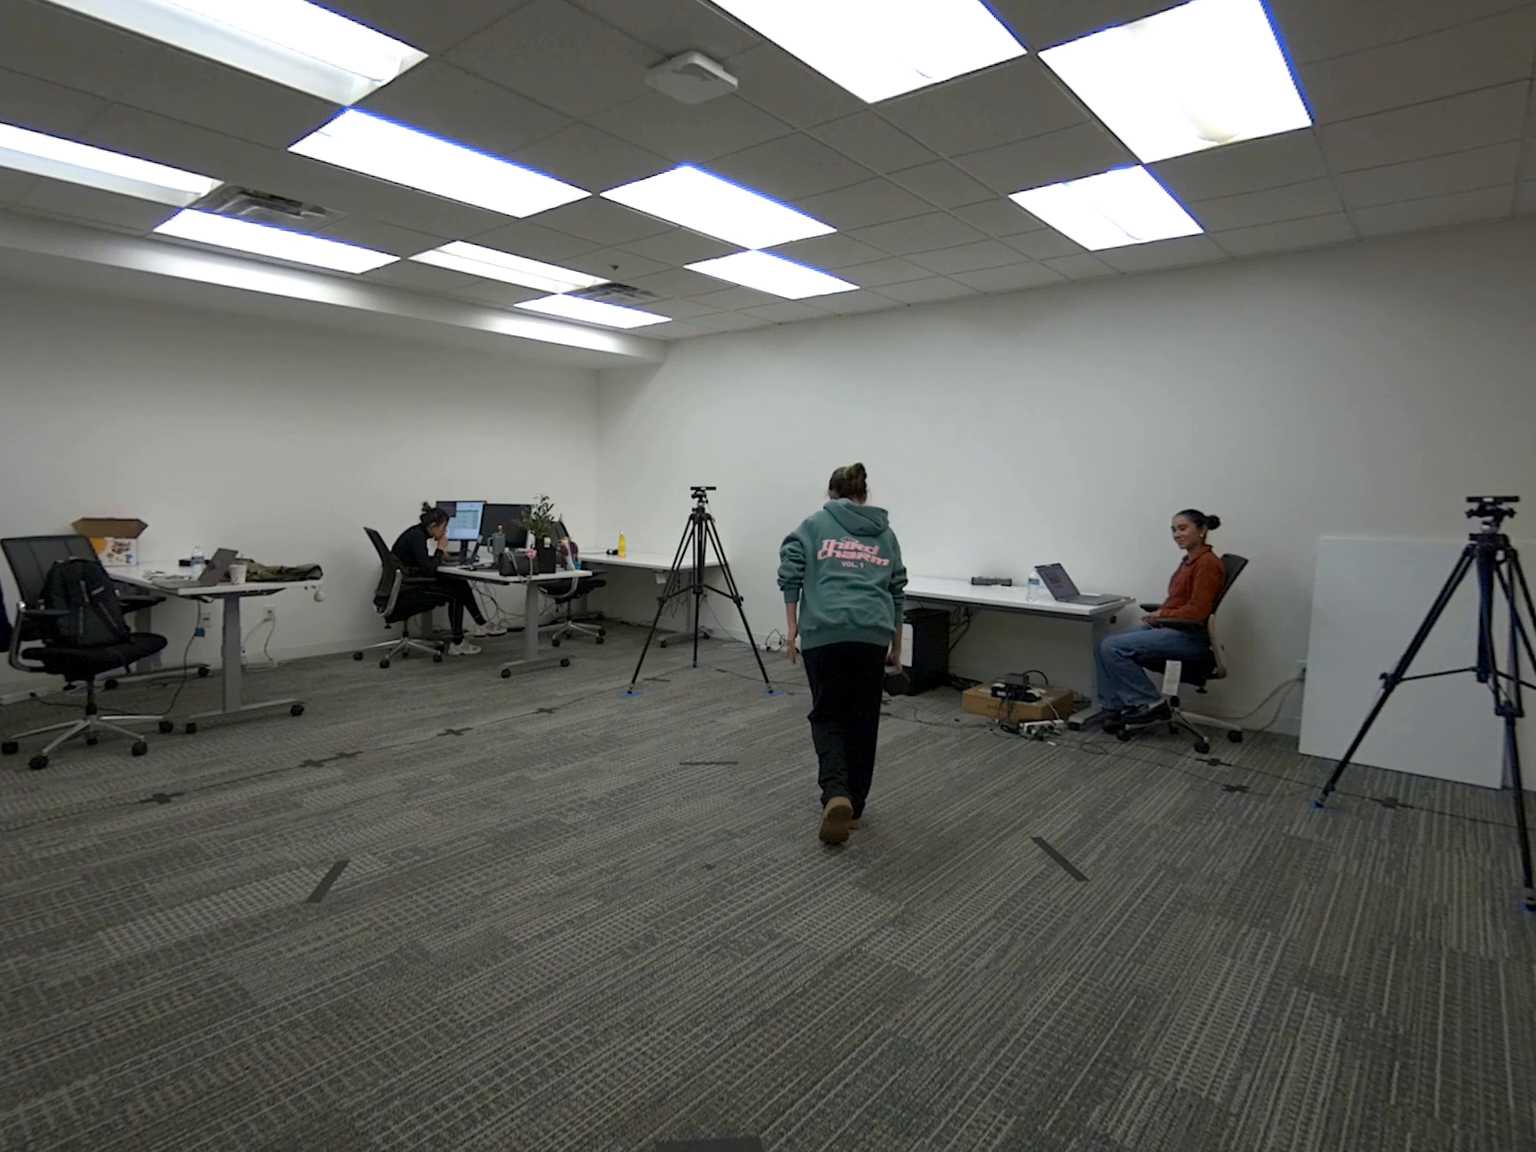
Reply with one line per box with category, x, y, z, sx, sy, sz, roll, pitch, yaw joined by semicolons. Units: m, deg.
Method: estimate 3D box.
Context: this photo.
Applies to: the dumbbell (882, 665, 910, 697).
dumbbell;0.505;0.418;3.668;0.107;0.122;0.298;19;9;-10
